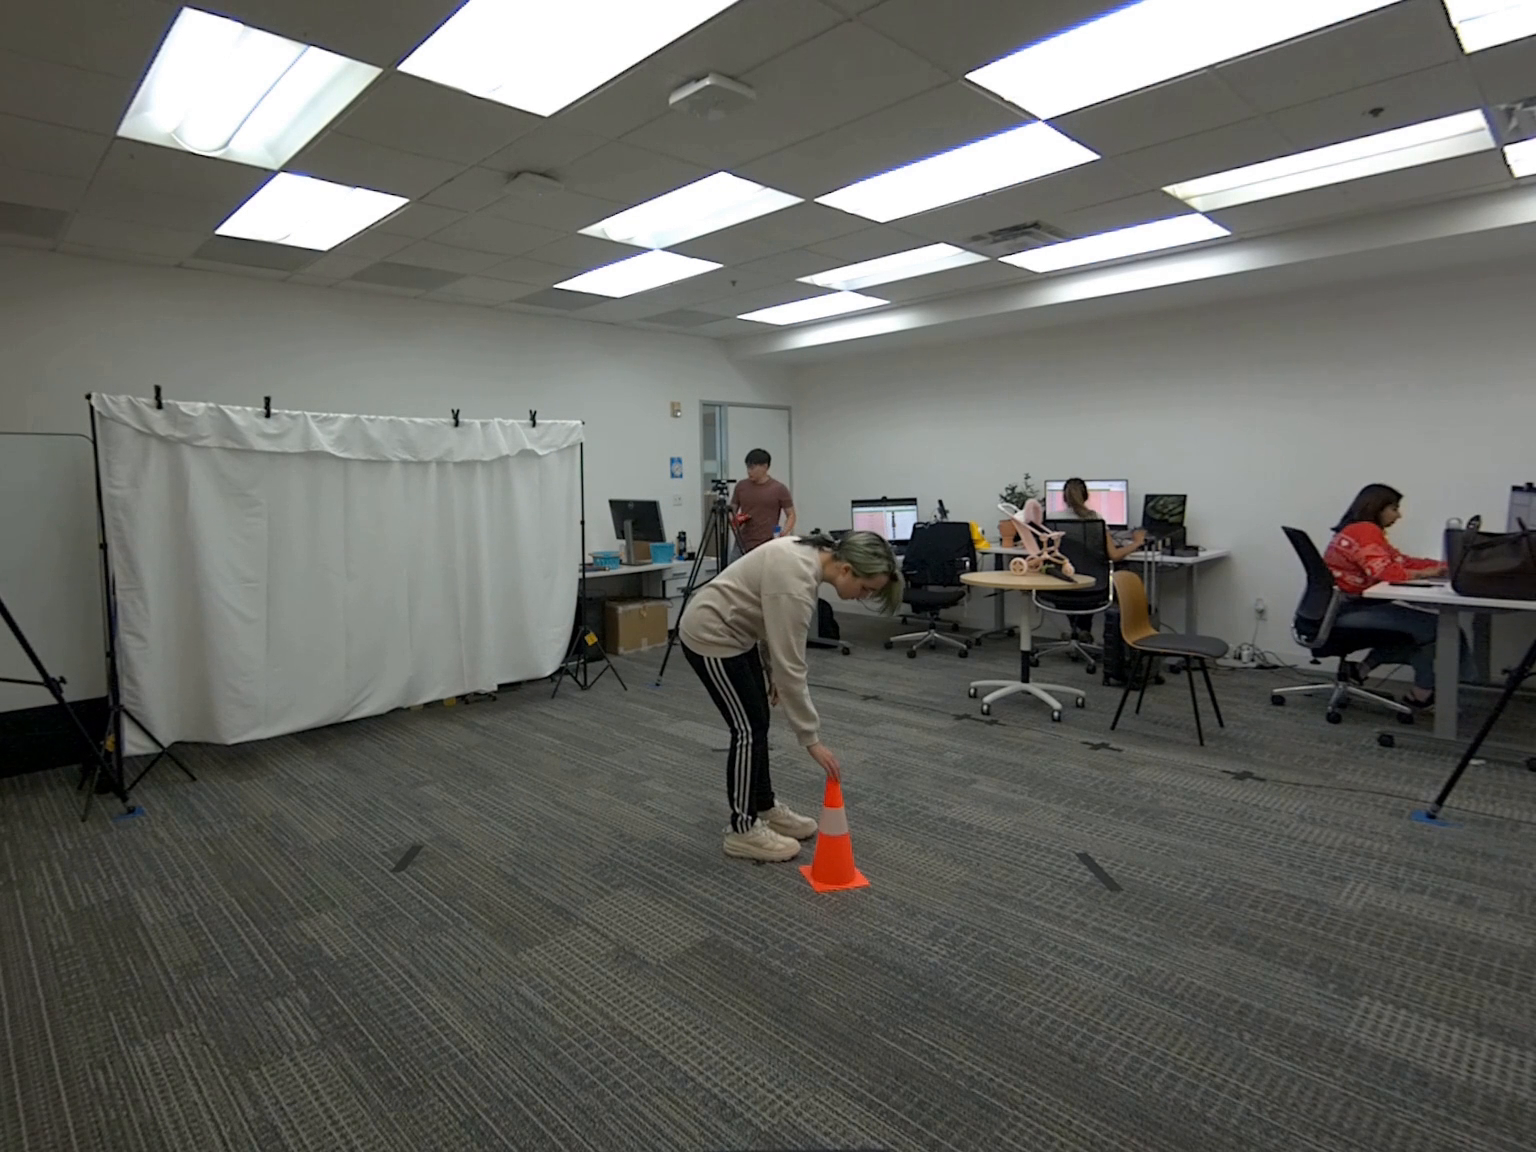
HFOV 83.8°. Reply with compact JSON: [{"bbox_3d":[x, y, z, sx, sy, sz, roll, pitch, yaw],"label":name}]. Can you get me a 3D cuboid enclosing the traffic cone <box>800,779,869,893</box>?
[{"bbox_3d":[0.237,0.870,2.988,0.203,0.381,0.207,-2,6,-13],"label":"traffic cone"}]
